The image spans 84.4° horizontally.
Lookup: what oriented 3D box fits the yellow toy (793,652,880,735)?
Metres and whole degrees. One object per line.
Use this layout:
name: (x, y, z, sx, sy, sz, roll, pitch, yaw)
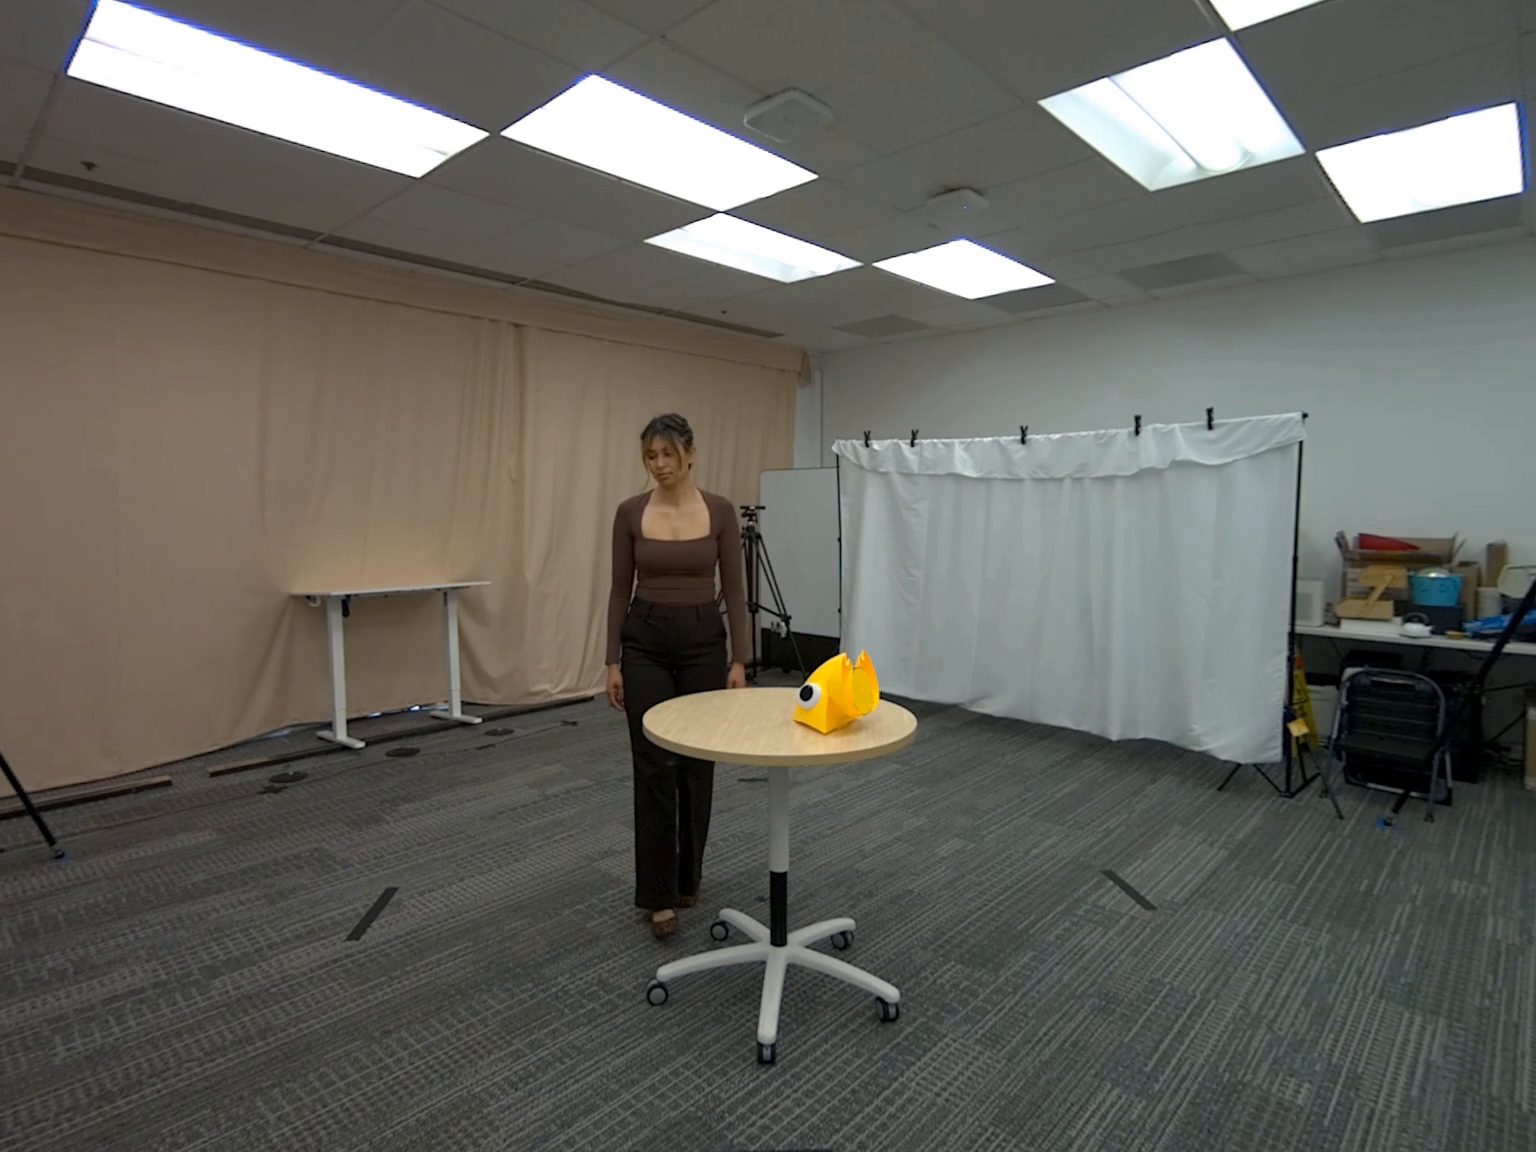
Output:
yellow toy: (0.157, 0.319, 2.277, 0.236, 0.194, 0.199, -14, -5, 33)
